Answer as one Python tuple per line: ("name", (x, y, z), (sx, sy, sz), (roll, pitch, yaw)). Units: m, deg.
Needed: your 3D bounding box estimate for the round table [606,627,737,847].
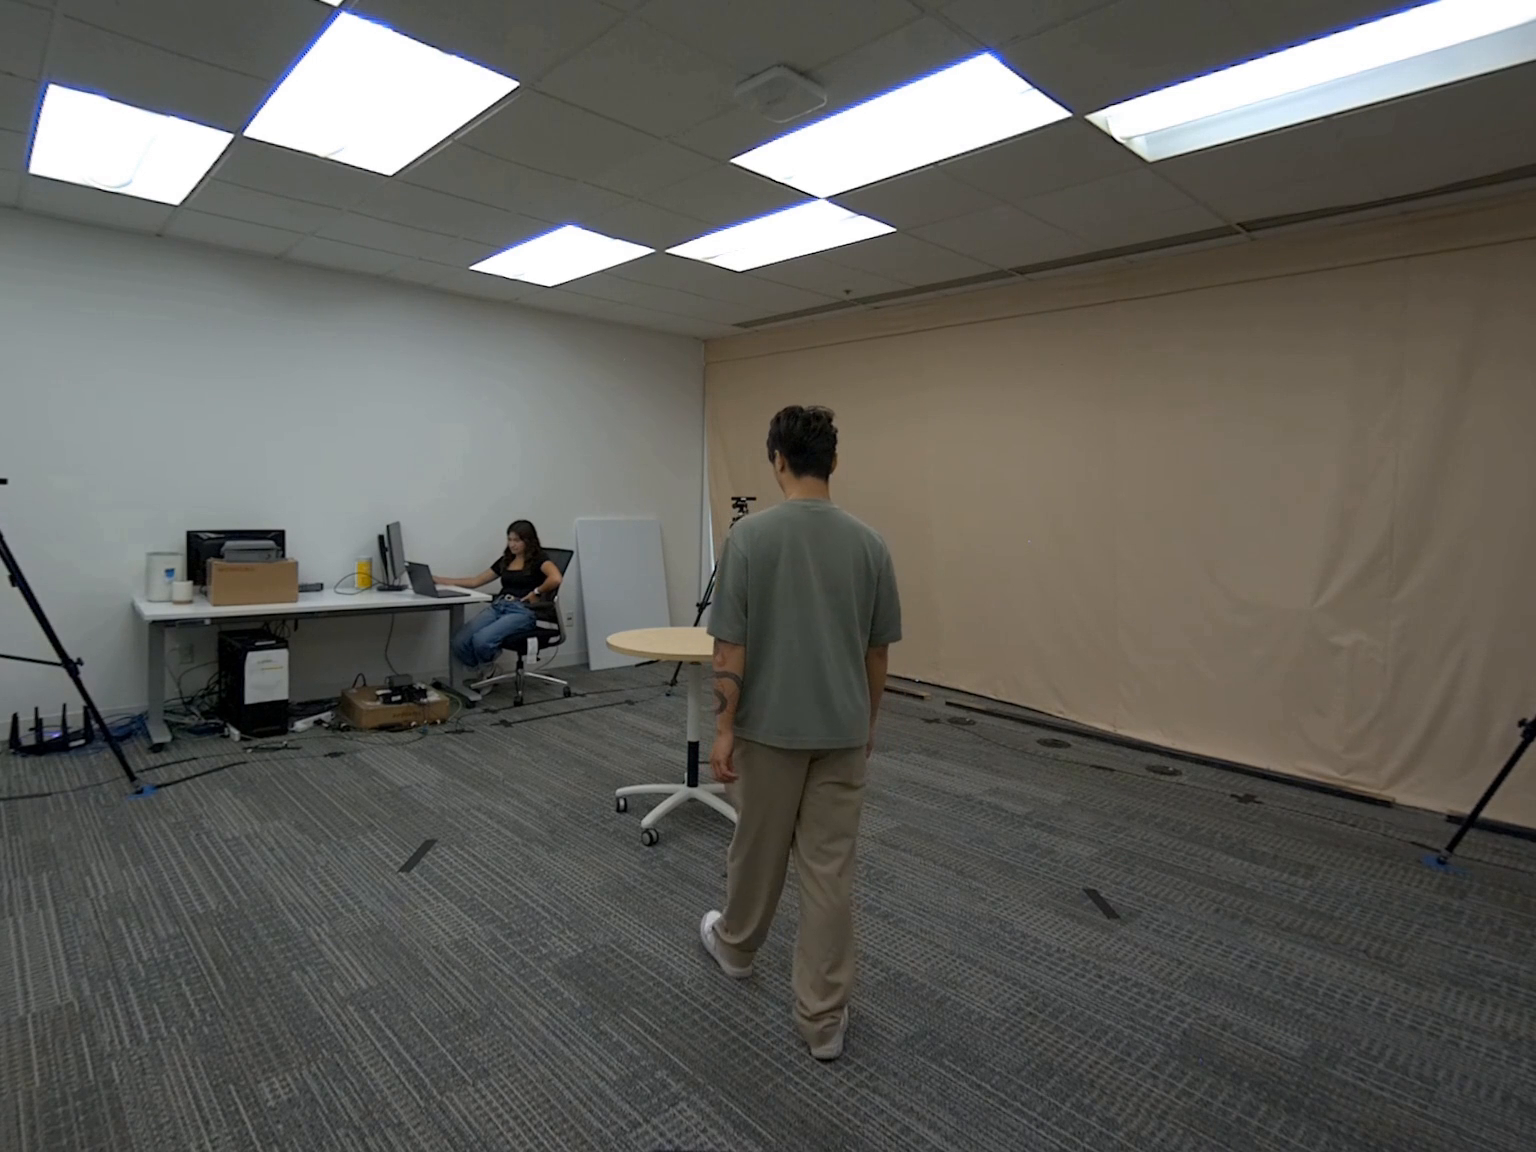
("round table", (-0.341, 0.661, 3.650), (0.784, 0.785, 0.787), (2, 4, -1))
